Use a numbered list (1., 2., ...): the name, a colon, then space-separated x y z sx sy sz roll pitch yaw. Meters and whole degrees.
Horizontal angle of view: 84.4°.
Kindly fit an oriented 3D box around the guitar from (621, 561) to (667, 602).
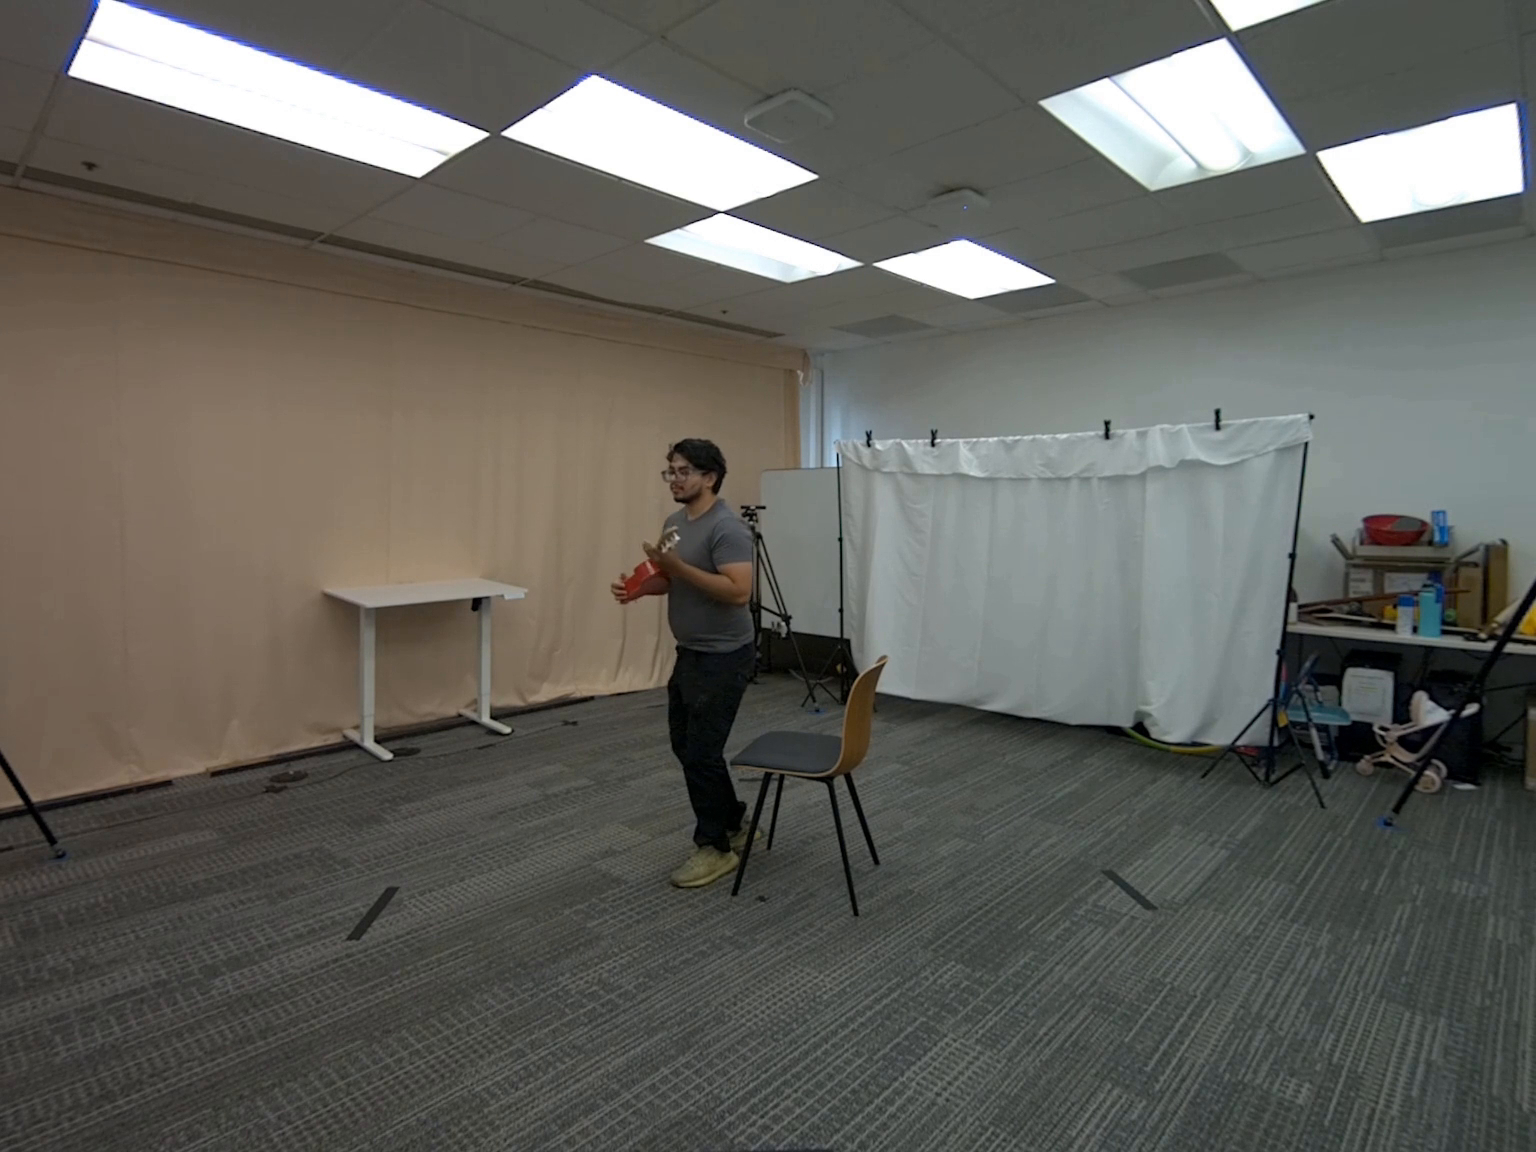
1. guitar: -0.423 -0.025 3.020 0.190 0.071 0.498 -26 -11 -21
